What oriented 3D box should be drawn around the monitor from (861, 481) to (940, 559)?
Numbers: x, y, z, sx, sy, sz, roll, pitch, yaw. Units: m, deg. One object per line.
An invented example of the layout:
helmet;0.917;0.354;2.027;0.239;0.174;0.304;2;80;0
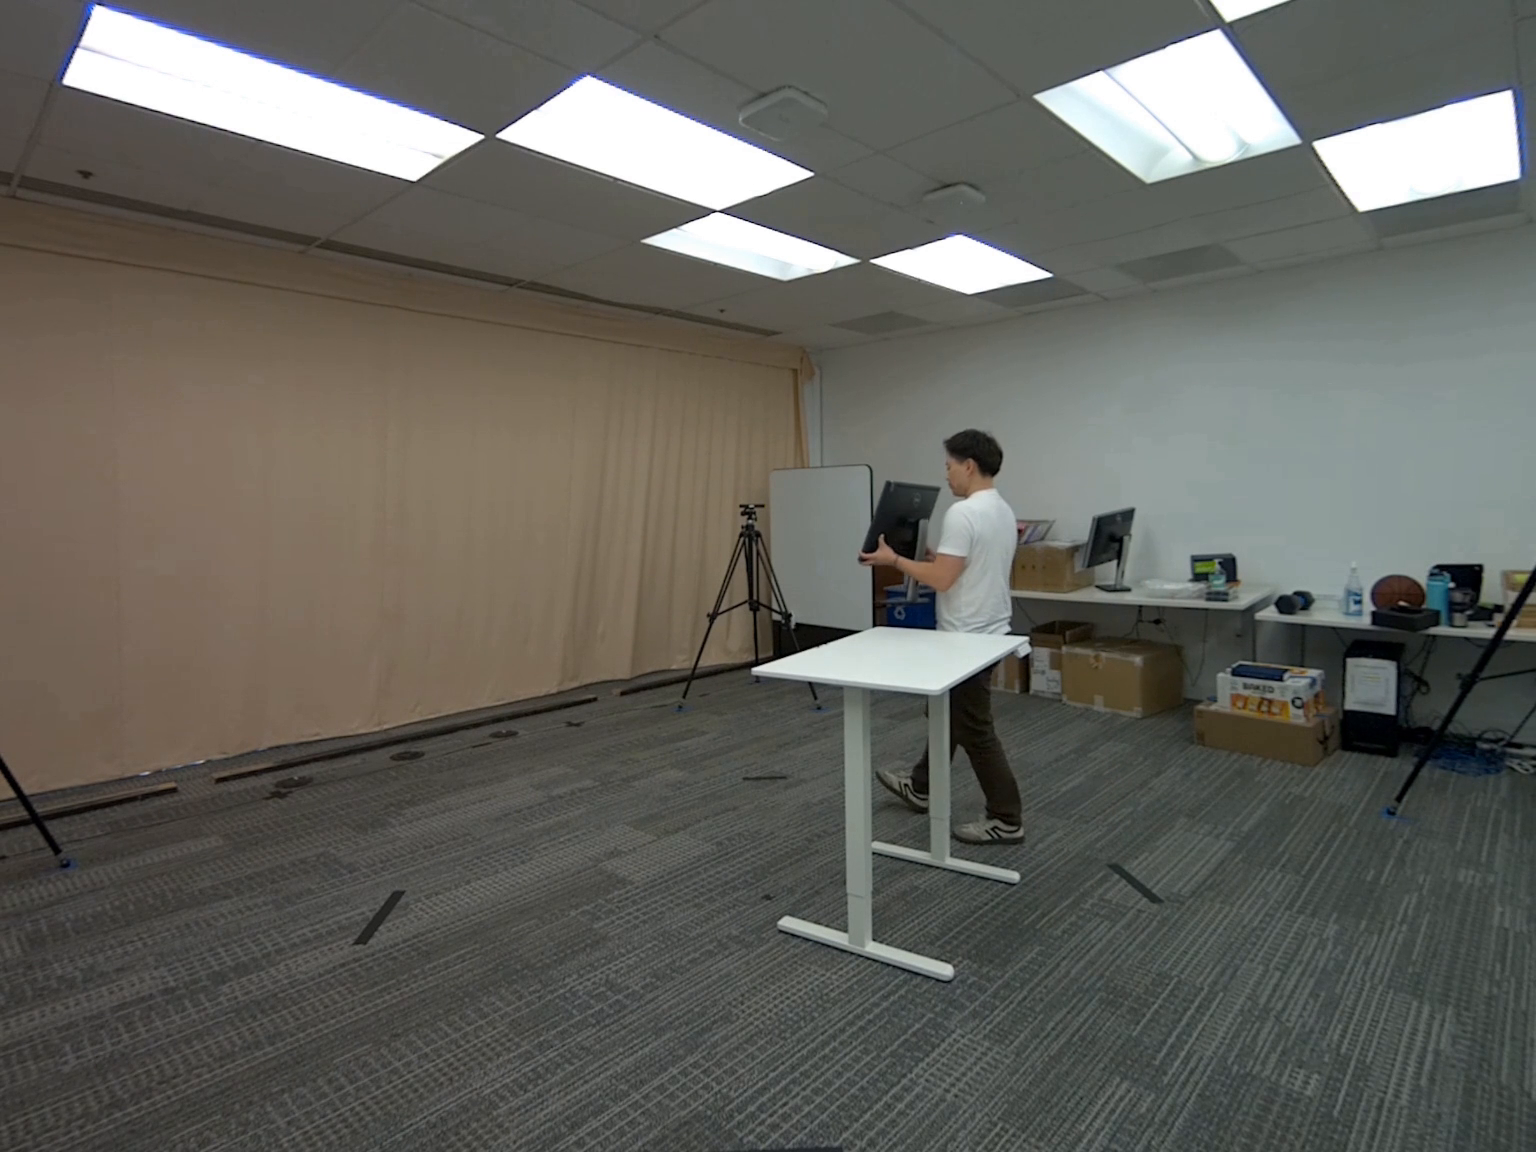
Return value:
monitor;0.604;-0.142;3.648;0.193;0.521;0.523;9;6;33
